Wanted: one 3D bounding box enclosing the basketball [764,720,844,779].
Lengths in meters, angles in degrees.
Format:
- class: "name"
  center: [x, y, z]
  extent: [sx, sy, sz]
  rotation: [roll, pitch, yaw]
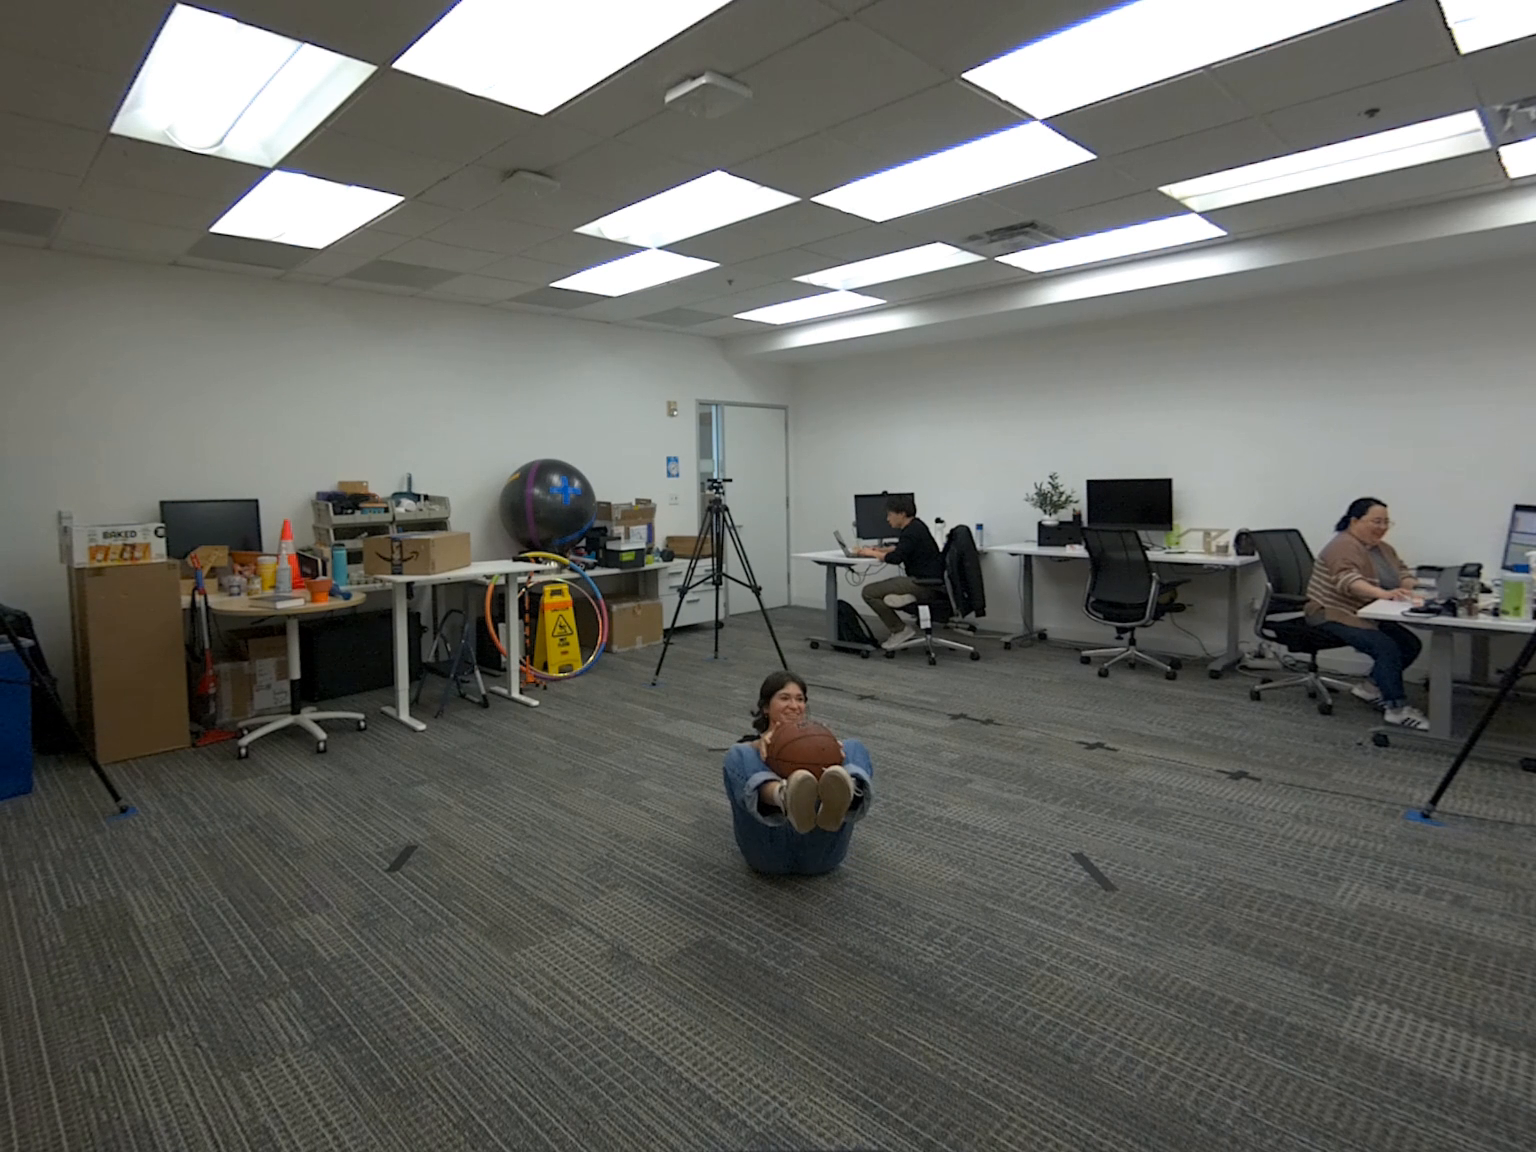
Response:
- class: "basketball"
  center: [0.112, 0.576, 2.722]
  extent: [0.236, 0.235, 0.237]
  rotation: [-1, 5, -2]
